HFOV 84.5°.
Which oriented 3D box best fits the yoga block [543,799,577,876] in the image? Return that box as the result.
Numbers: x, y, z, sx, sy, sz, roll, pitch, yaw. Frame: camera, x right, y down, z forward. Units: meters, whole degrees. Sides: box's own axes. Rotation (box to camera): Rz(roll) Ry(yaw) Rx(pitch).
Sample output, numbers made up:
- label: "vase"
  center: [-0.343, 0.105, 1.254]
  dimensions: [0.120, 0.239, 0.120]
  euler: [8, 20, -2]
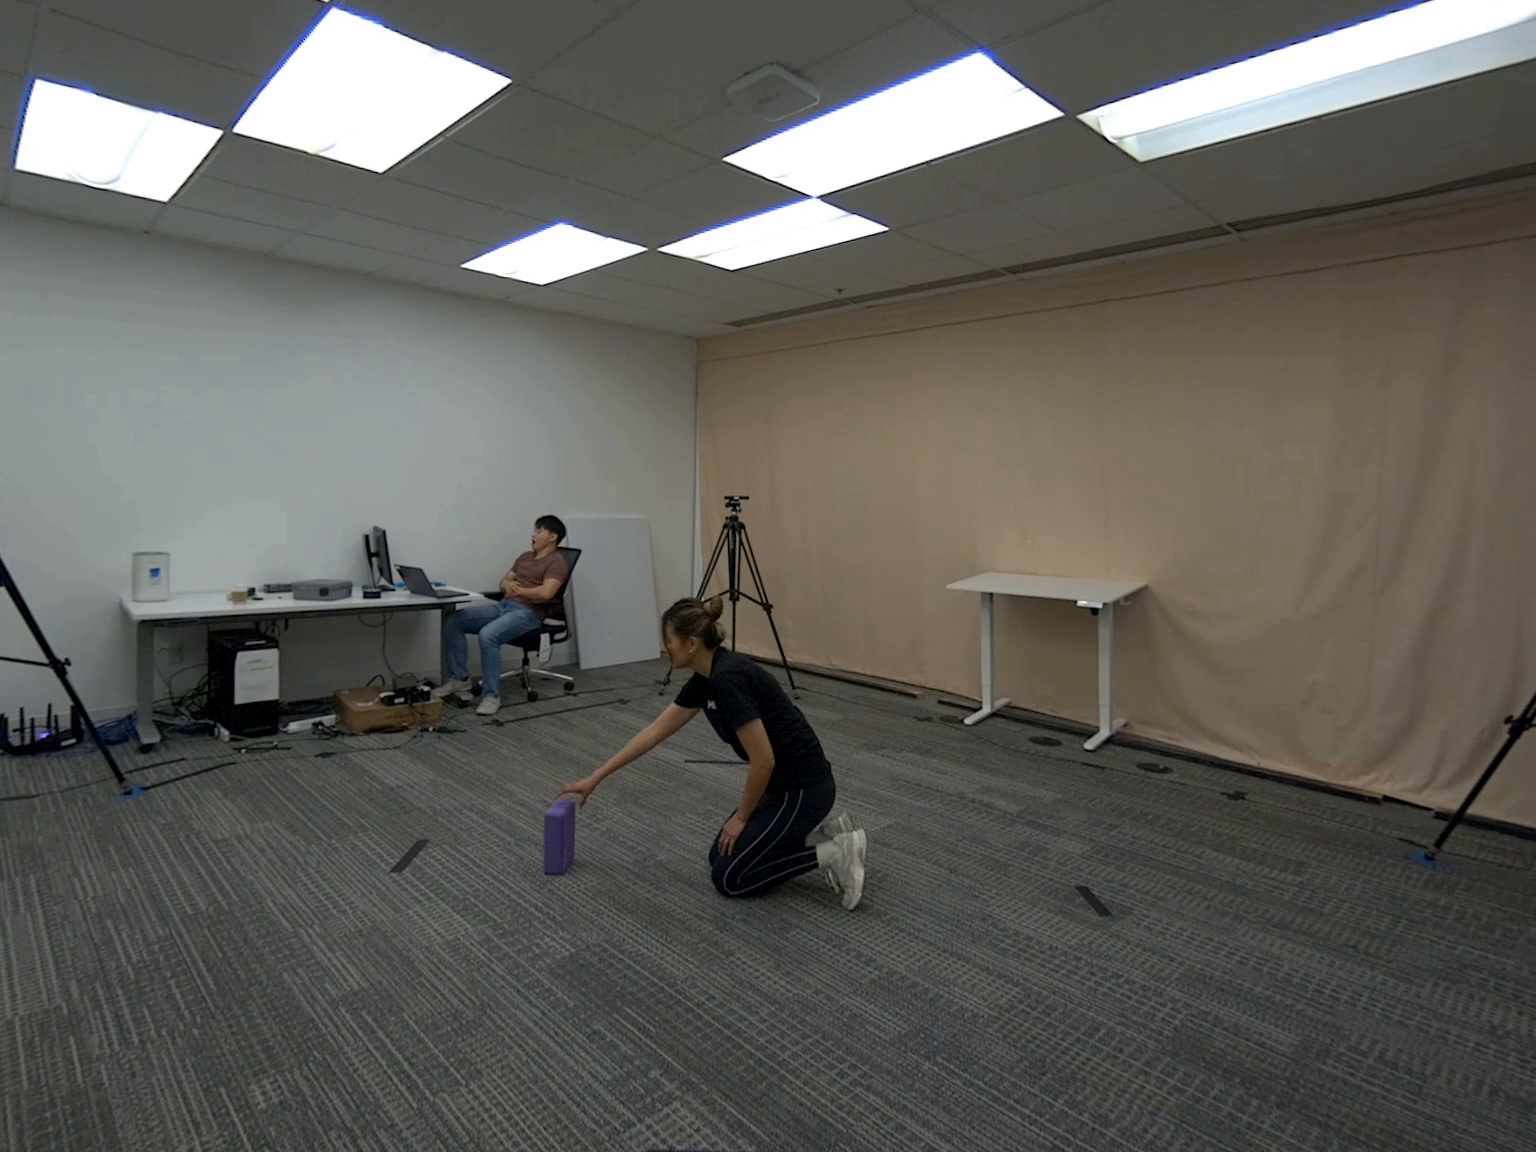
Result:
- label: "yoga block"
  center: [-0.777, 0.969, 3.132]
  dimensions: [0.077, 0.228, 0.149]
  euler: [1, 5, 4]
